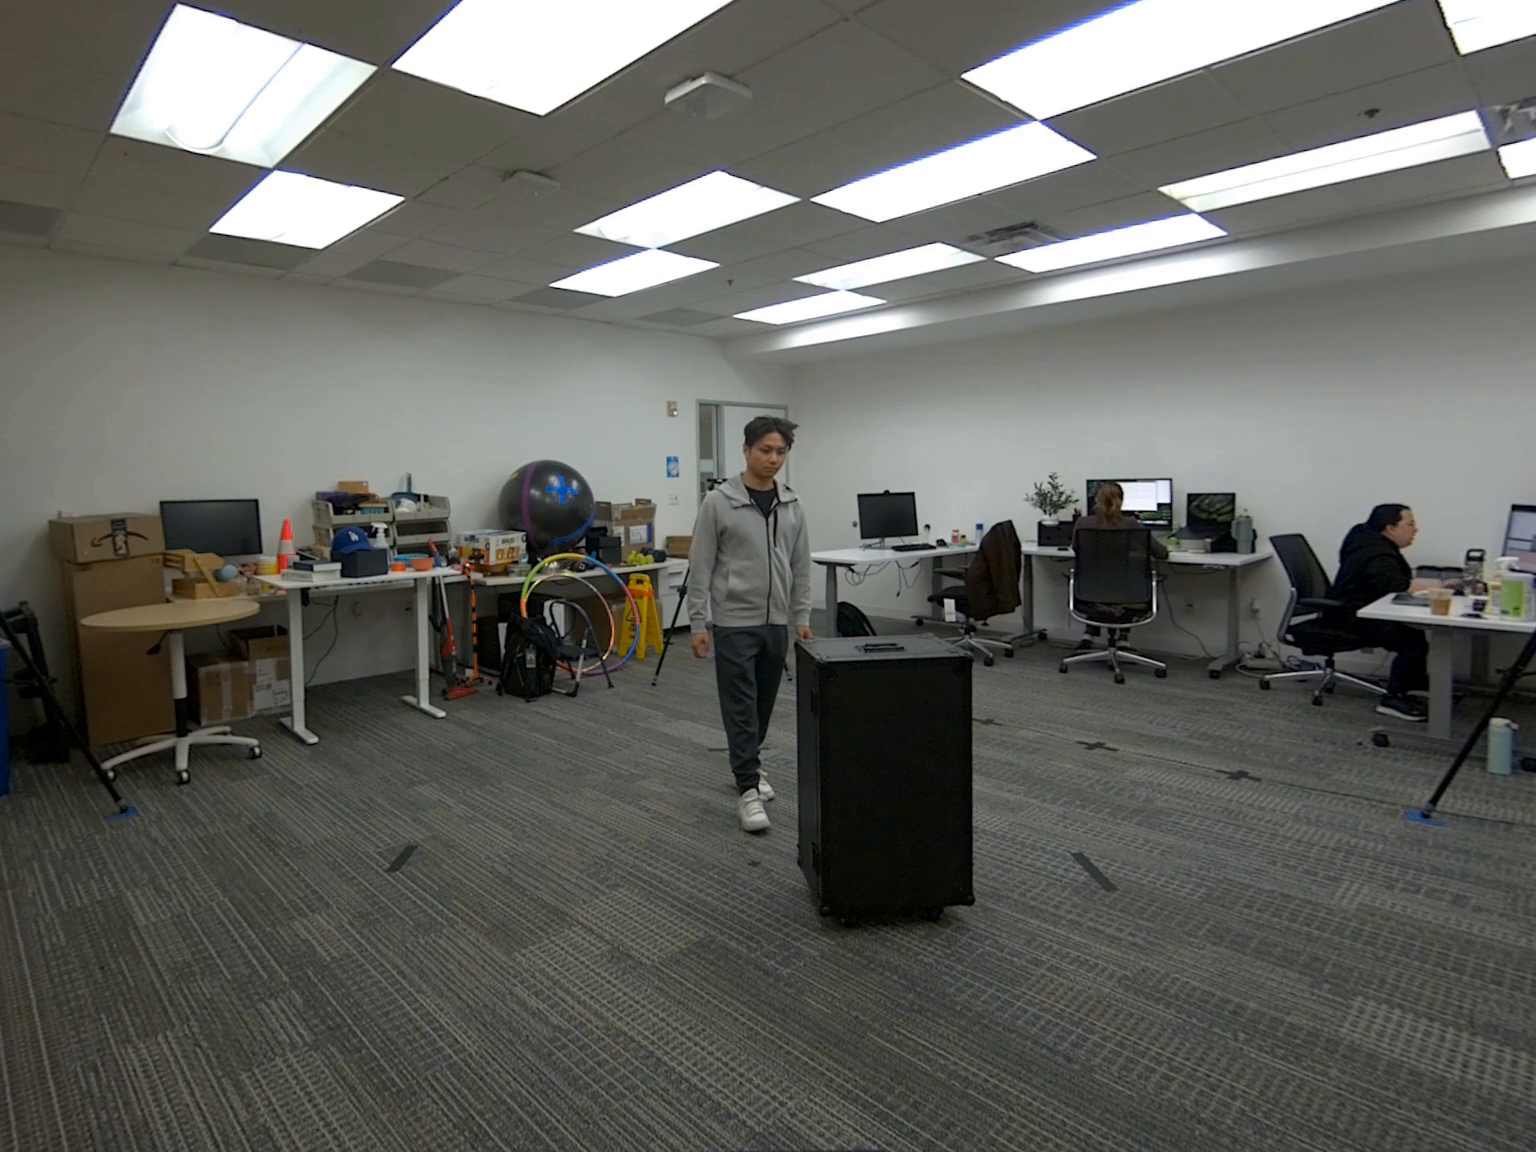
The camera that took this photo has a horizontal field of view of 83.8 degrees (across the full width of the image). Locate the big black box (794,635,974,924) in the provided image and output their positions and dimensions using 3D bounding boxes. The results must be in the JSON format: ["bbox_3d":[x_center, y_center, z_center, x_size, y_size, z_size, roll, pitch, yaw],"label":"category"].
[{"bbox_3d":[0.364,0.652,2.770,0.517,0.858,0.401,-2,4,-9],"label":"big black box"}]
